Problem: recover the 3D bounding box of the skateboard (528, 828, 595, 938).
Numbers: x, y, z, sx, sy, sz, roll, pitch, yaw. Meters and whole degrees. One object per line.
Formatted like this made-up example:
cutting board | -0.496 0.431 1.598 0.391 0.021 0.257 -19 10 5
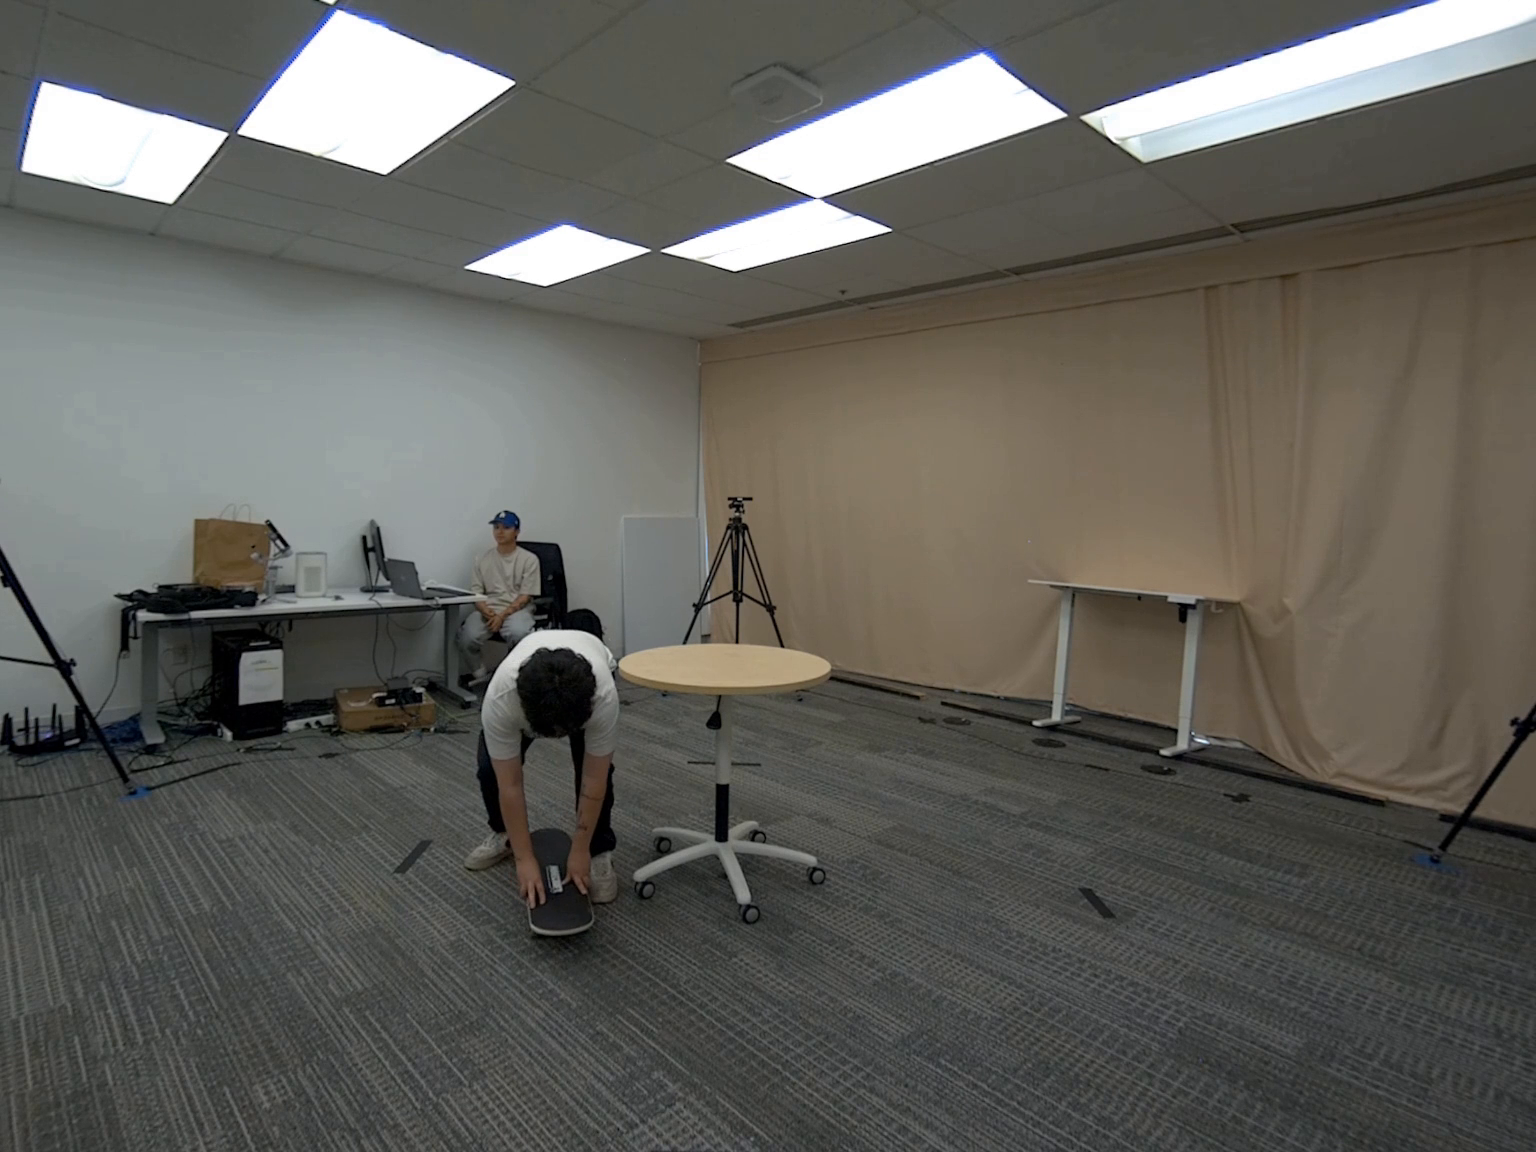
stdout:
skateboard | -0.731 1.066 2.849 0.191 0.110 0.798 0 6 -18
